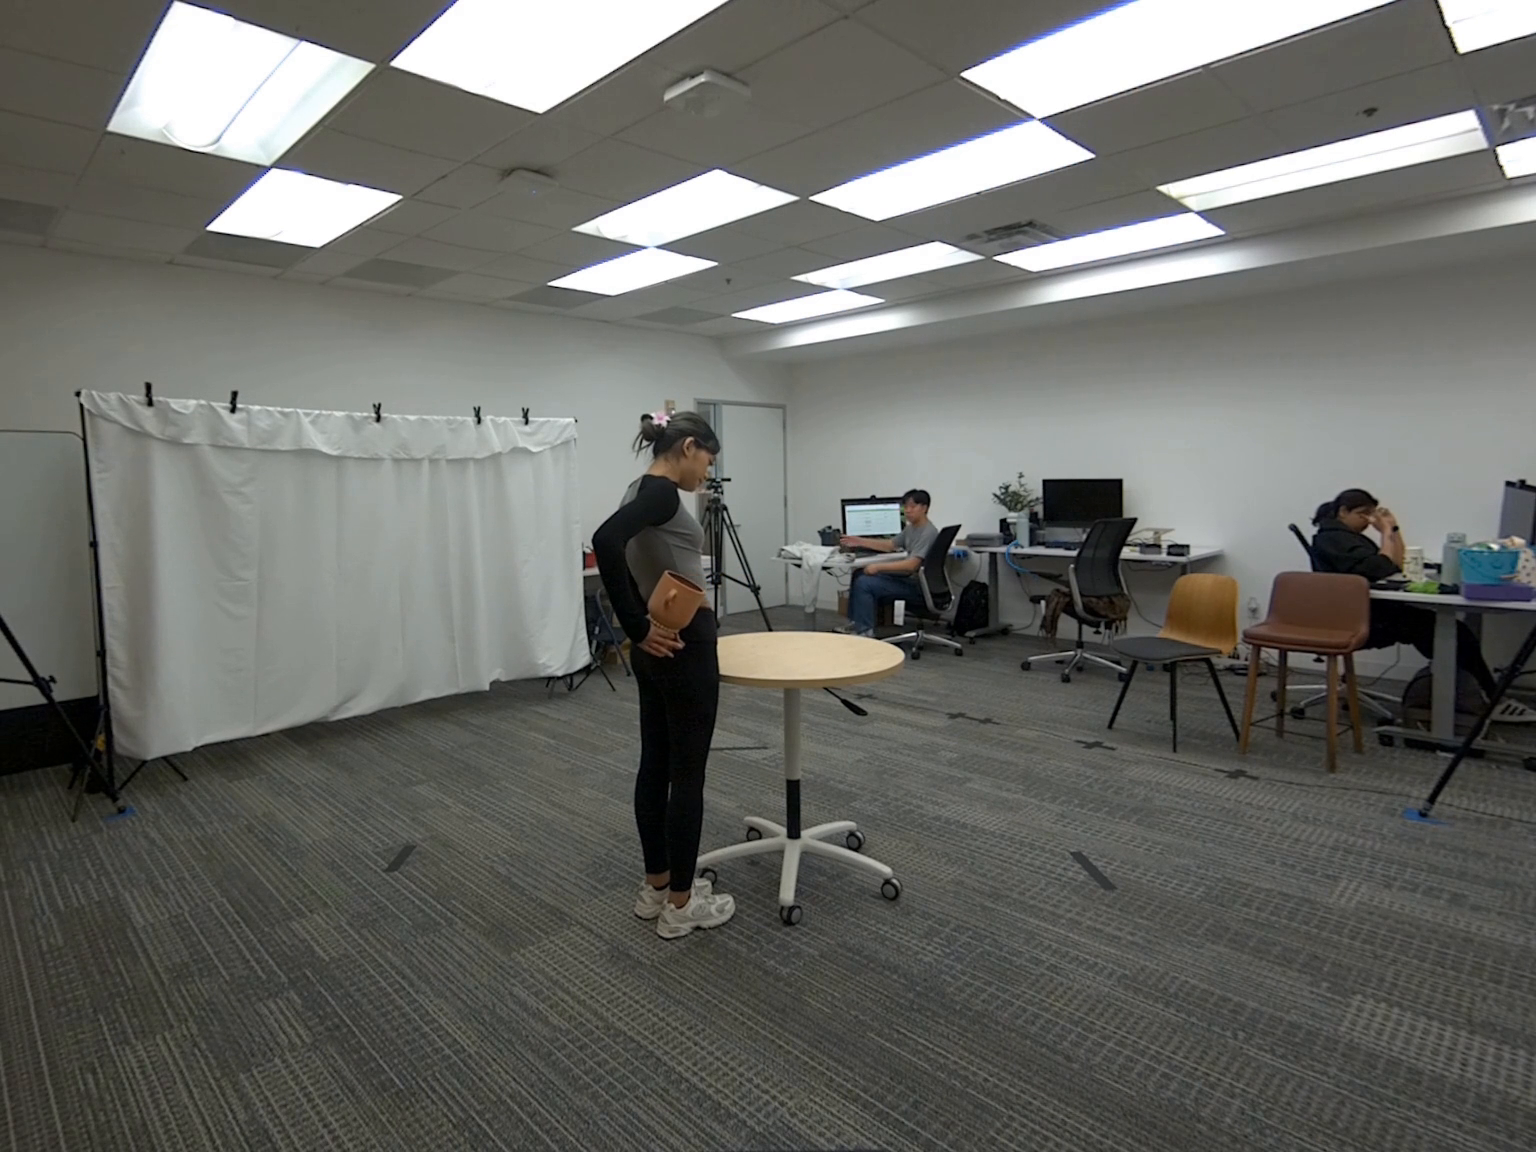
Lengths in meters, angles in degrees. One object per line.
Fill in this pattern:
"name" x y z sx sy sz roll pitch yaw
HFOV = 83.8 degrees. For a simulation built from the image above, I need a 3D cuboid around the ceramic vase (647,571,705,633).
"ceramic vase" -0.290 0.112 2.446 0.153 0.219 0.140 23 7 -42
